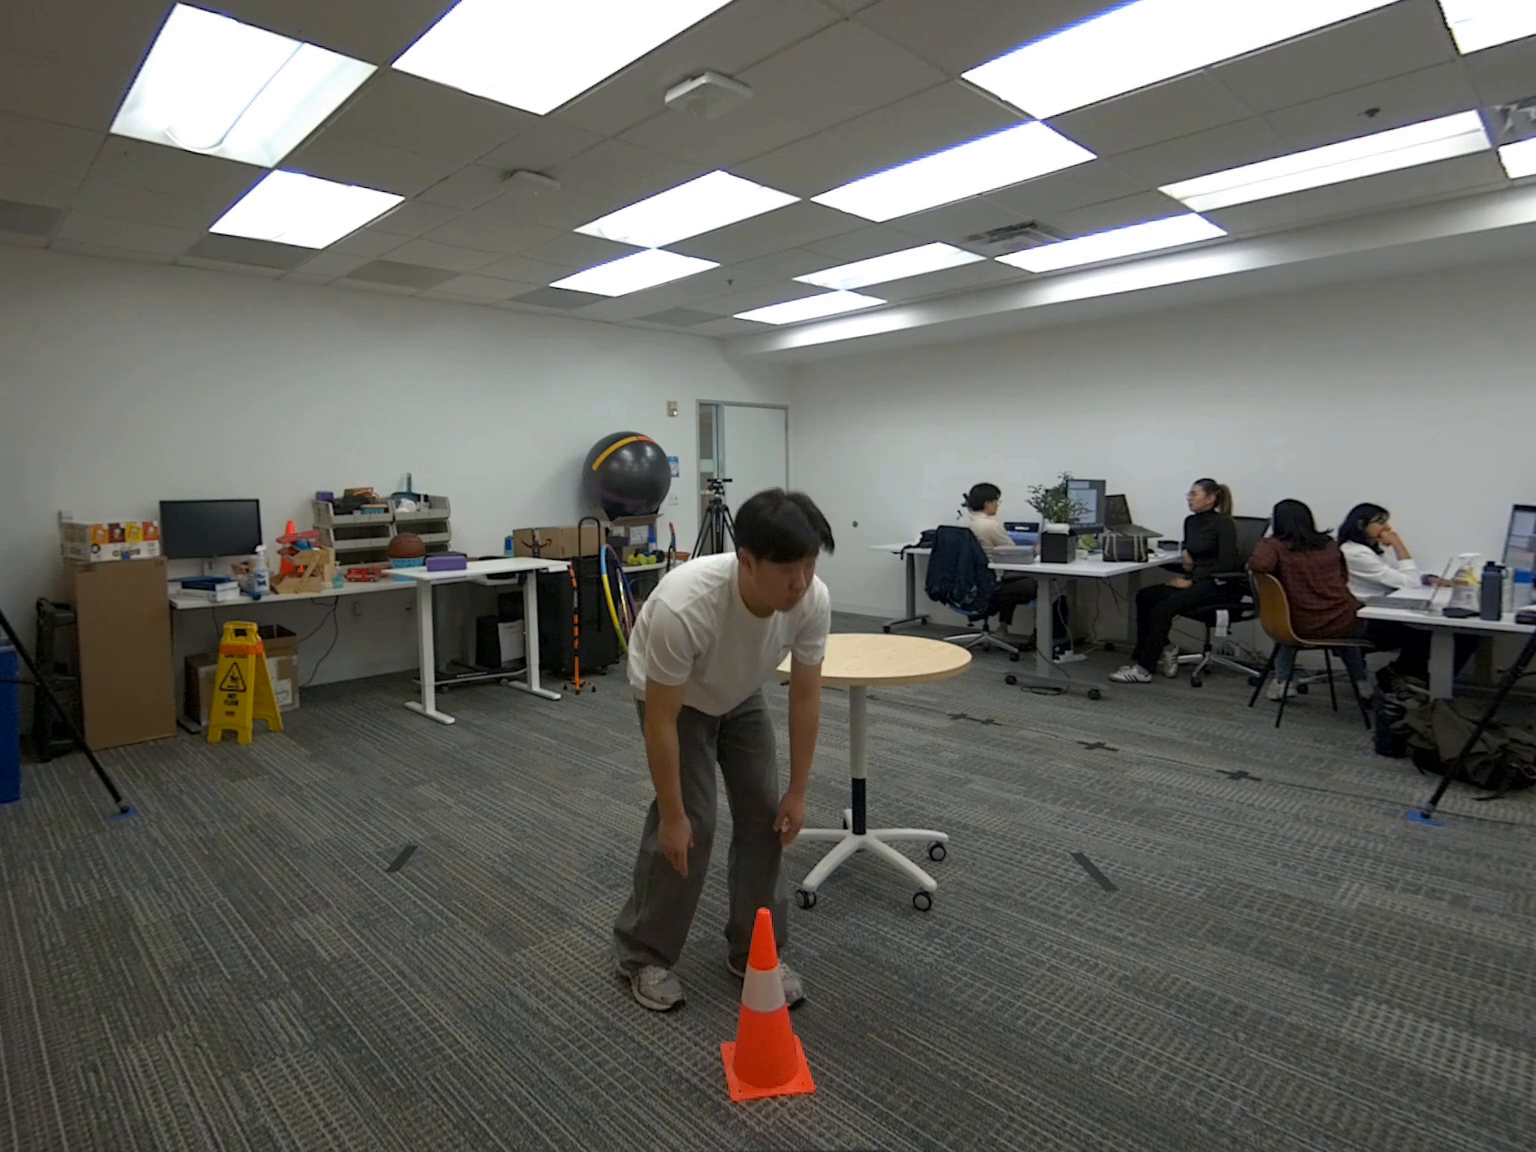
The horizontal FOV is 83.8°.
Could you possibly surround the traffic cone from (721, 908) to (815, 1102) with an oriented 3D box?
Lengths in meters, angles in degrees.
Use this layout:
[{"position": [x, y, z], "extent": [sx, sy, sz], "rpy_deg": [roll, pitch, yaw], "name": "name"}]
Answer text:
[{"position": [-0.002, 0.994, 2.022], "extent": [0.201, 0.382, 0.208], "rpy_deg": [-3, 4, -13], "name": "traffic cone"}]
